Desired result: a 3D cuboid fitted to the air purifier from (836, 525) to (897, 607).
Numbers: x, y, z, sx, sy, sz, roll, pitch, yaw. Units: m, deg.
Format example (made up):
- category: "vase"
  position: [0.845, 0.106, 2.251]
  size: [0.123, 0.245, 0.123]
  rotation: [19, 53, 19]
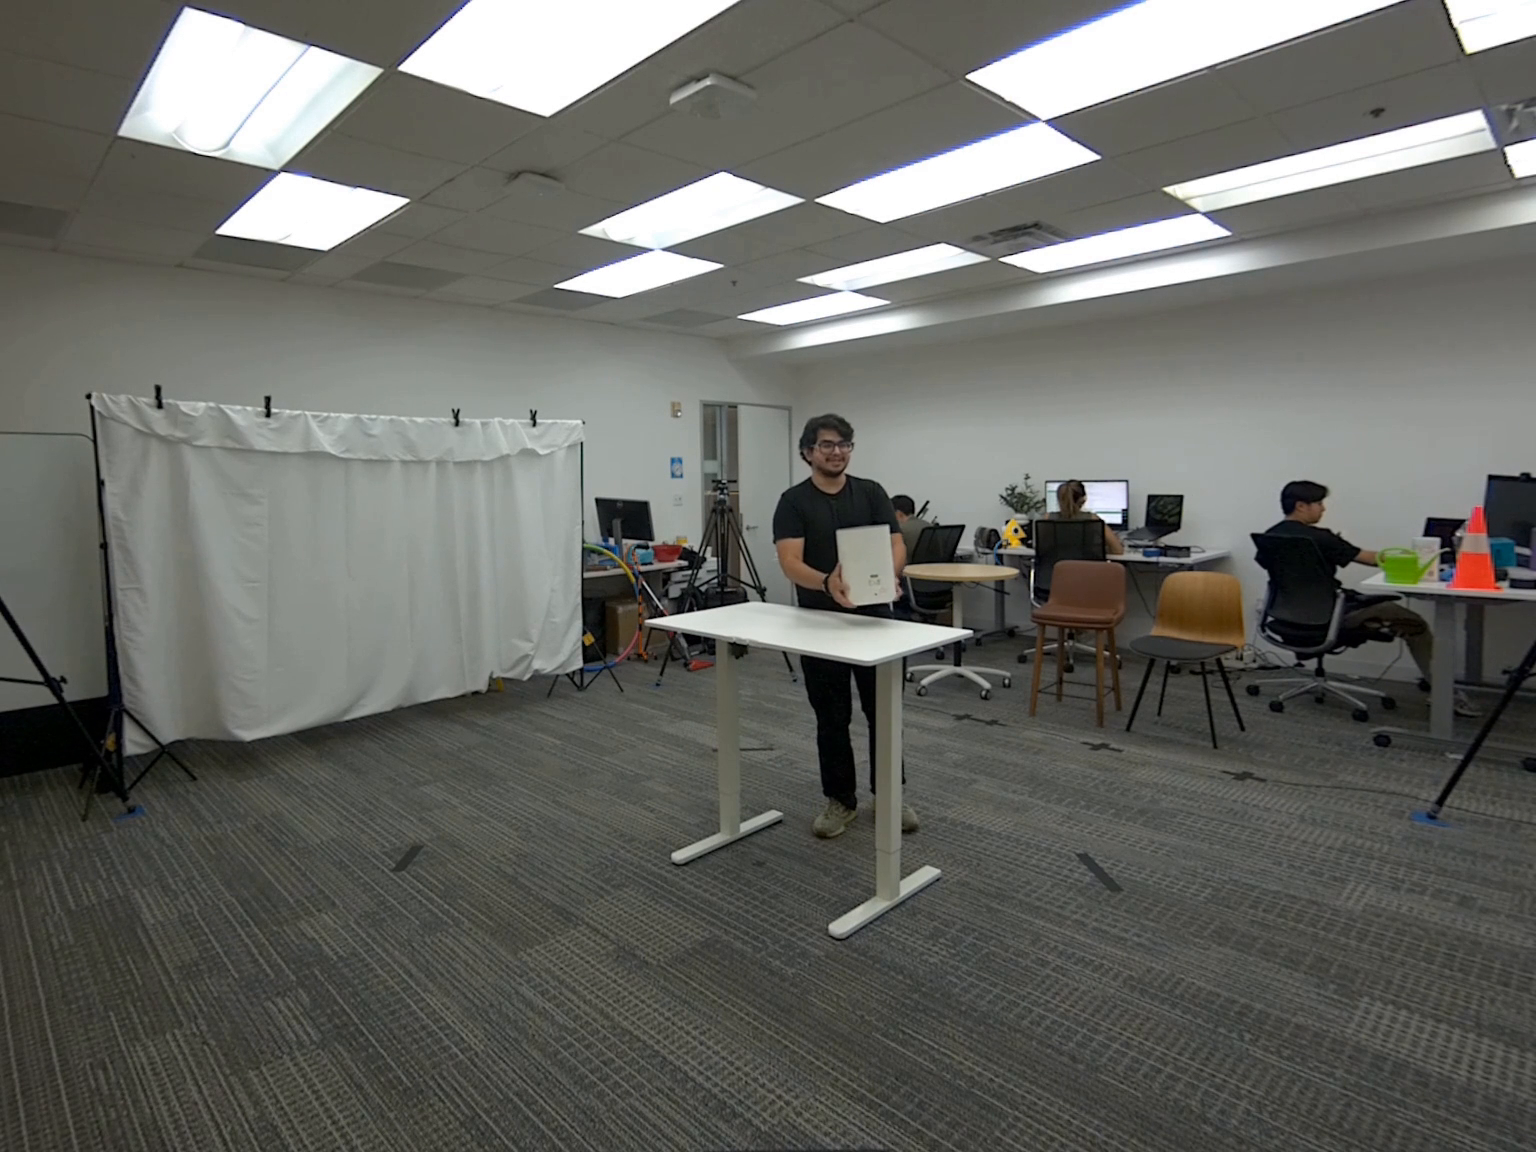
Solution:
- category: "air purifier"
  position: [0.344, -0.033, 2.986]
  size: [0.169, 0.266, 0.173]
  rotation: [-6, -2, -11]
